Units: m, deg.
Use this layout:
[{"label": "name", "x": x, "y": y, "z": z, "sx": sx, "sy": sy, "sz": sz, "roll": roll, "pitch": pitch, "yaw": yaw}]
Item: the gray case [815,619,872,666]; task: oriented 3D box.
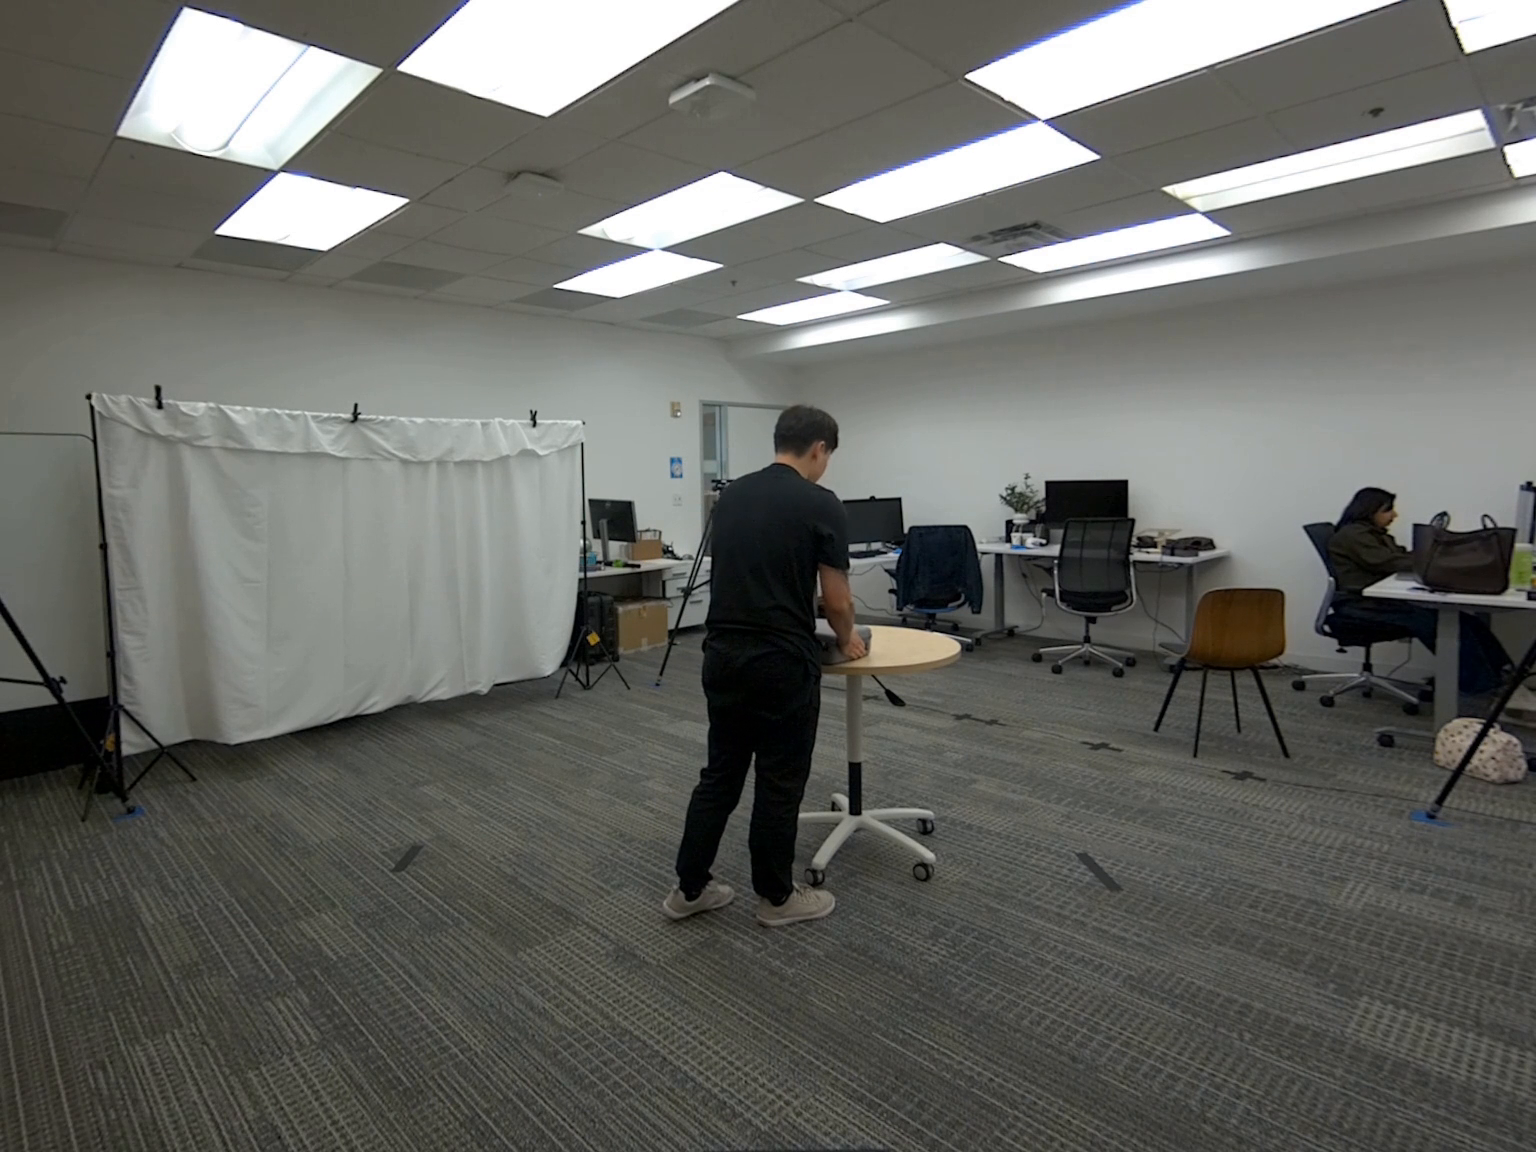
[{"label": "gray case", "x": 0.200, "y": 0.218, "z": 2.958, "sx": 0.265, "sy": 0.104, "sz": 0.254, "roll": 4, "pitch": 6, "yaw": 39}]
